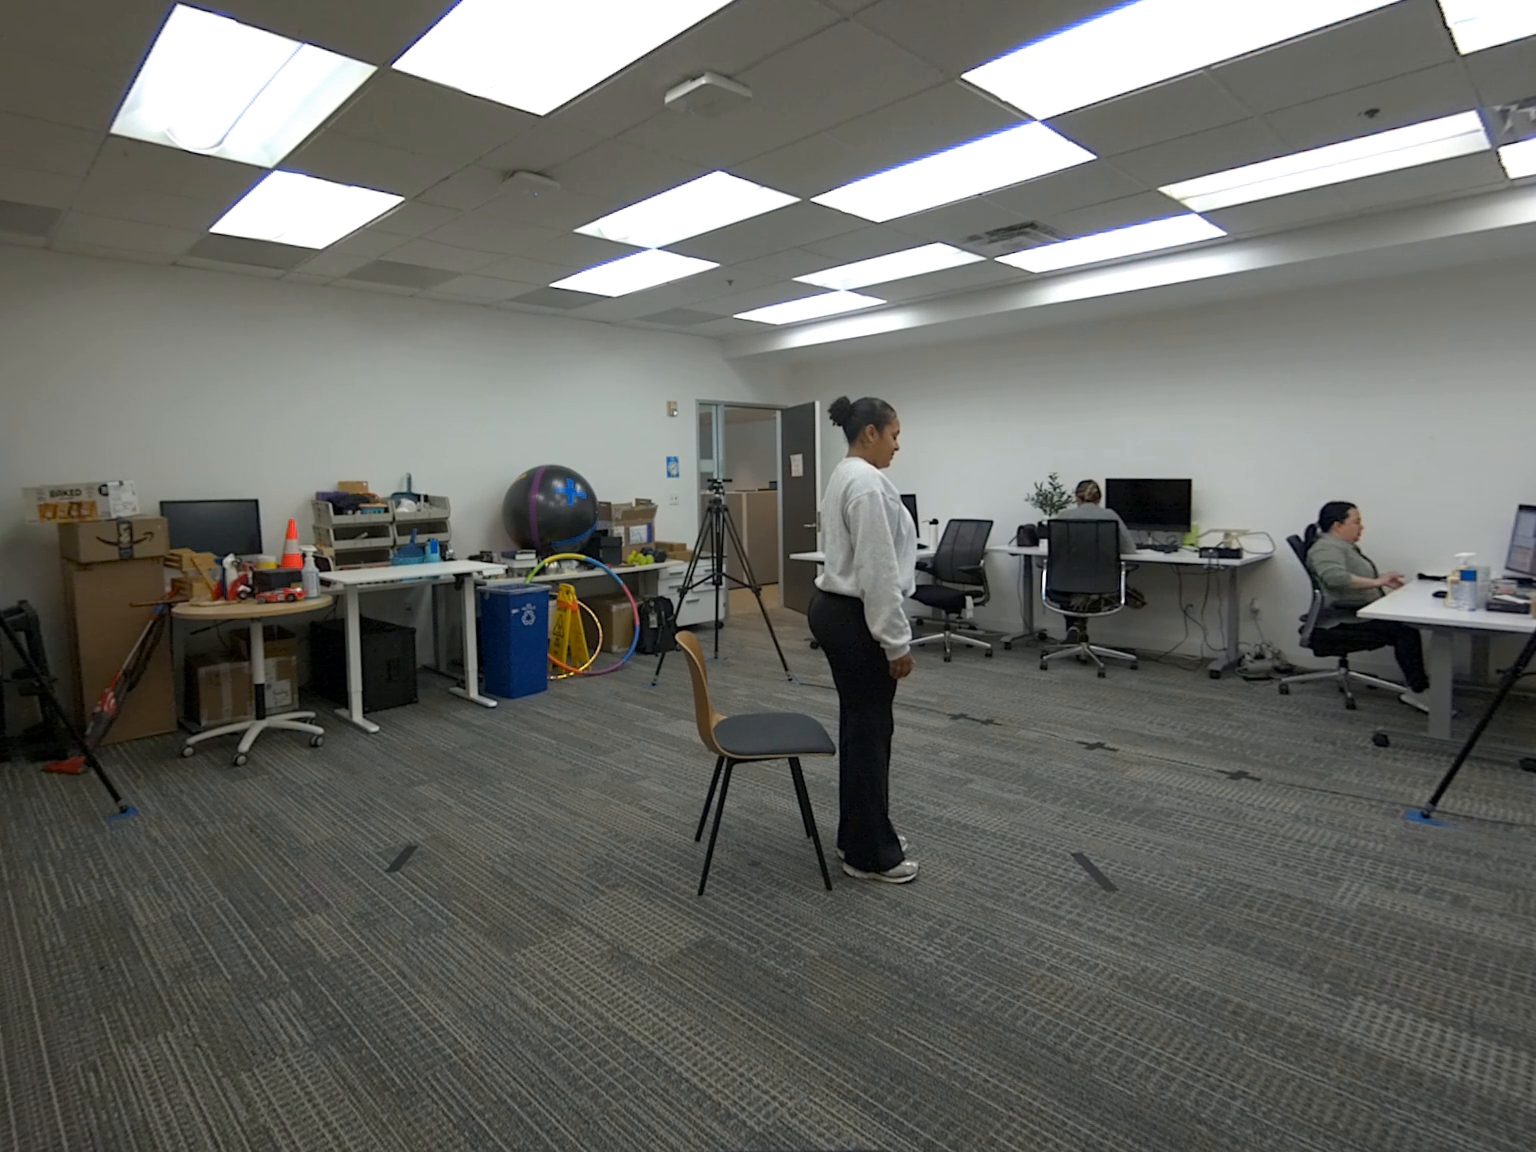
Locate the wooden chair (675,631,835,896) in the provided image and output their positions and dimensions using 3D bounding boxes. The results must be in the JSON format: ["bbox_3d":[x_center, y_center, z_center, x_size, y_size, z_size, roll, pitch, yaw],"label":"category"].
[{"bbox_3d":[-0.032,0.618,3.070,0.521,0.874,0.482,-5,4,-5],"label":"wooden chair"}]
